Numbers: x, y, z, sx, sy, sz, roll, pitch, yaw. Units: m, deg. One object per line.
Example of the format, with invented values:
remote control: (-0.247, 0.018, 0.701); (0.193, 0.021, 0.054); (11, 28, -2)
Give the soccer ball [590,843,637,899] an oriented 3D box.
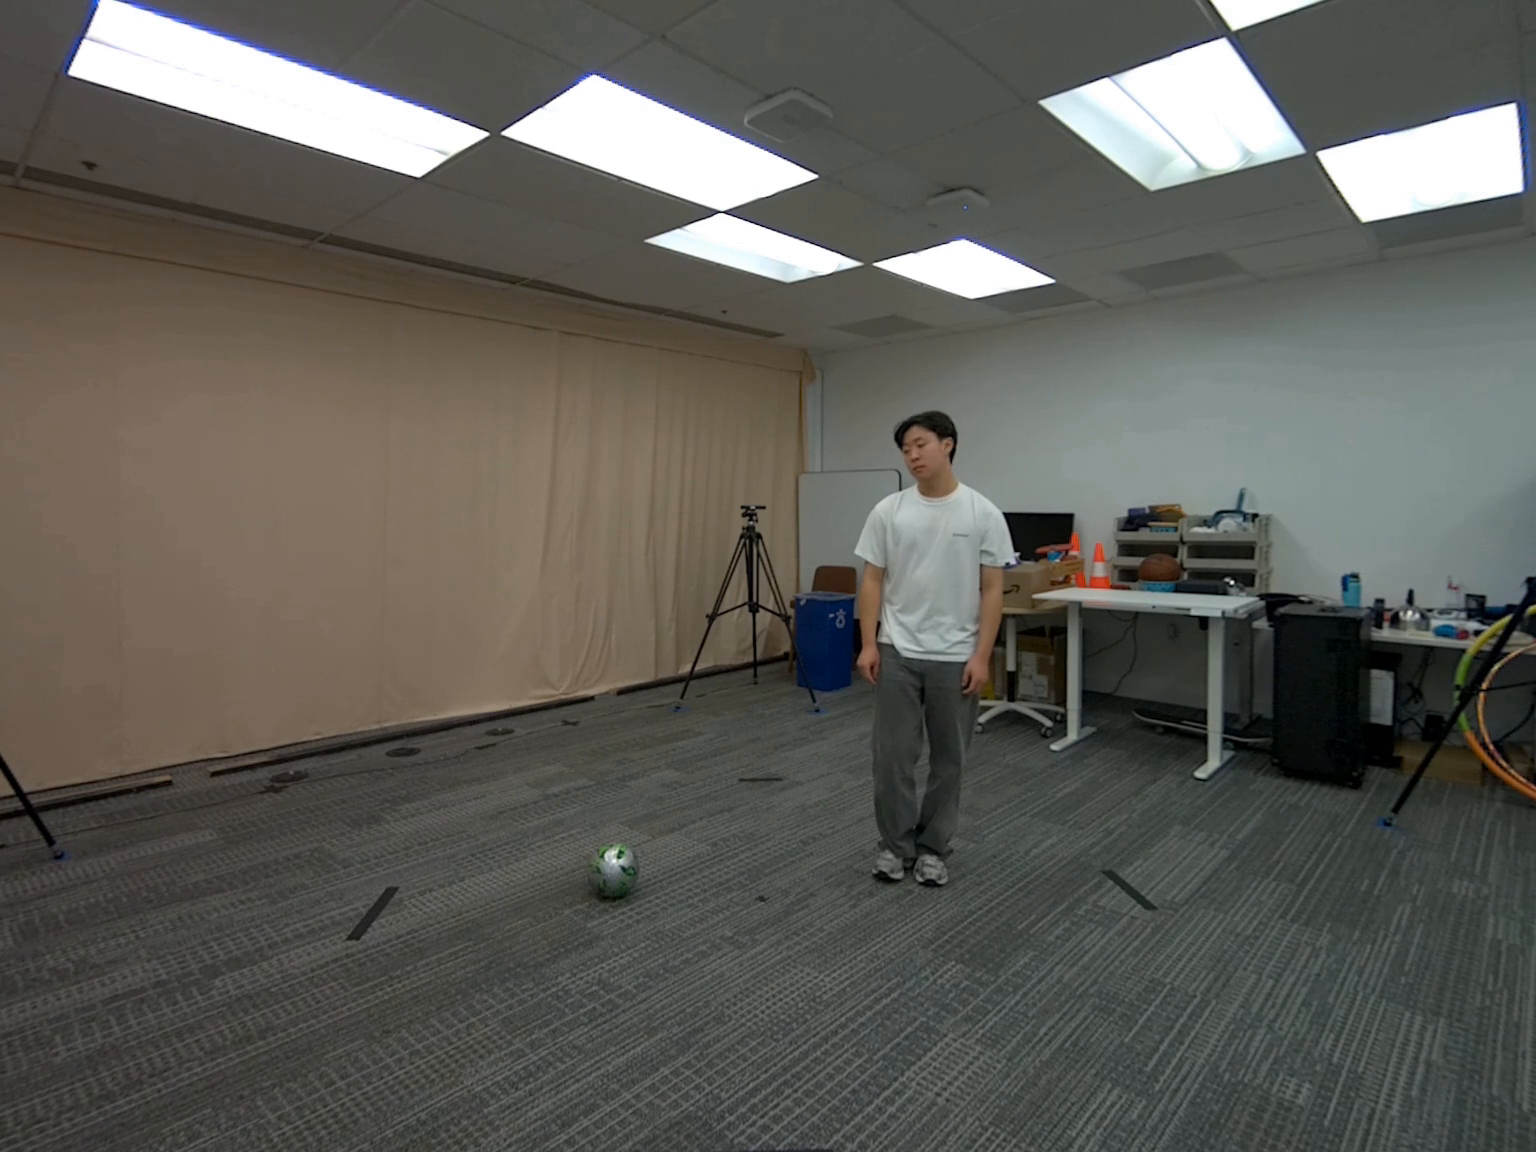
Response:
soccer ball: (-0.553, 1.059, 3.015); (0.187, 0.187, 0.188); (0, 4, -2)
